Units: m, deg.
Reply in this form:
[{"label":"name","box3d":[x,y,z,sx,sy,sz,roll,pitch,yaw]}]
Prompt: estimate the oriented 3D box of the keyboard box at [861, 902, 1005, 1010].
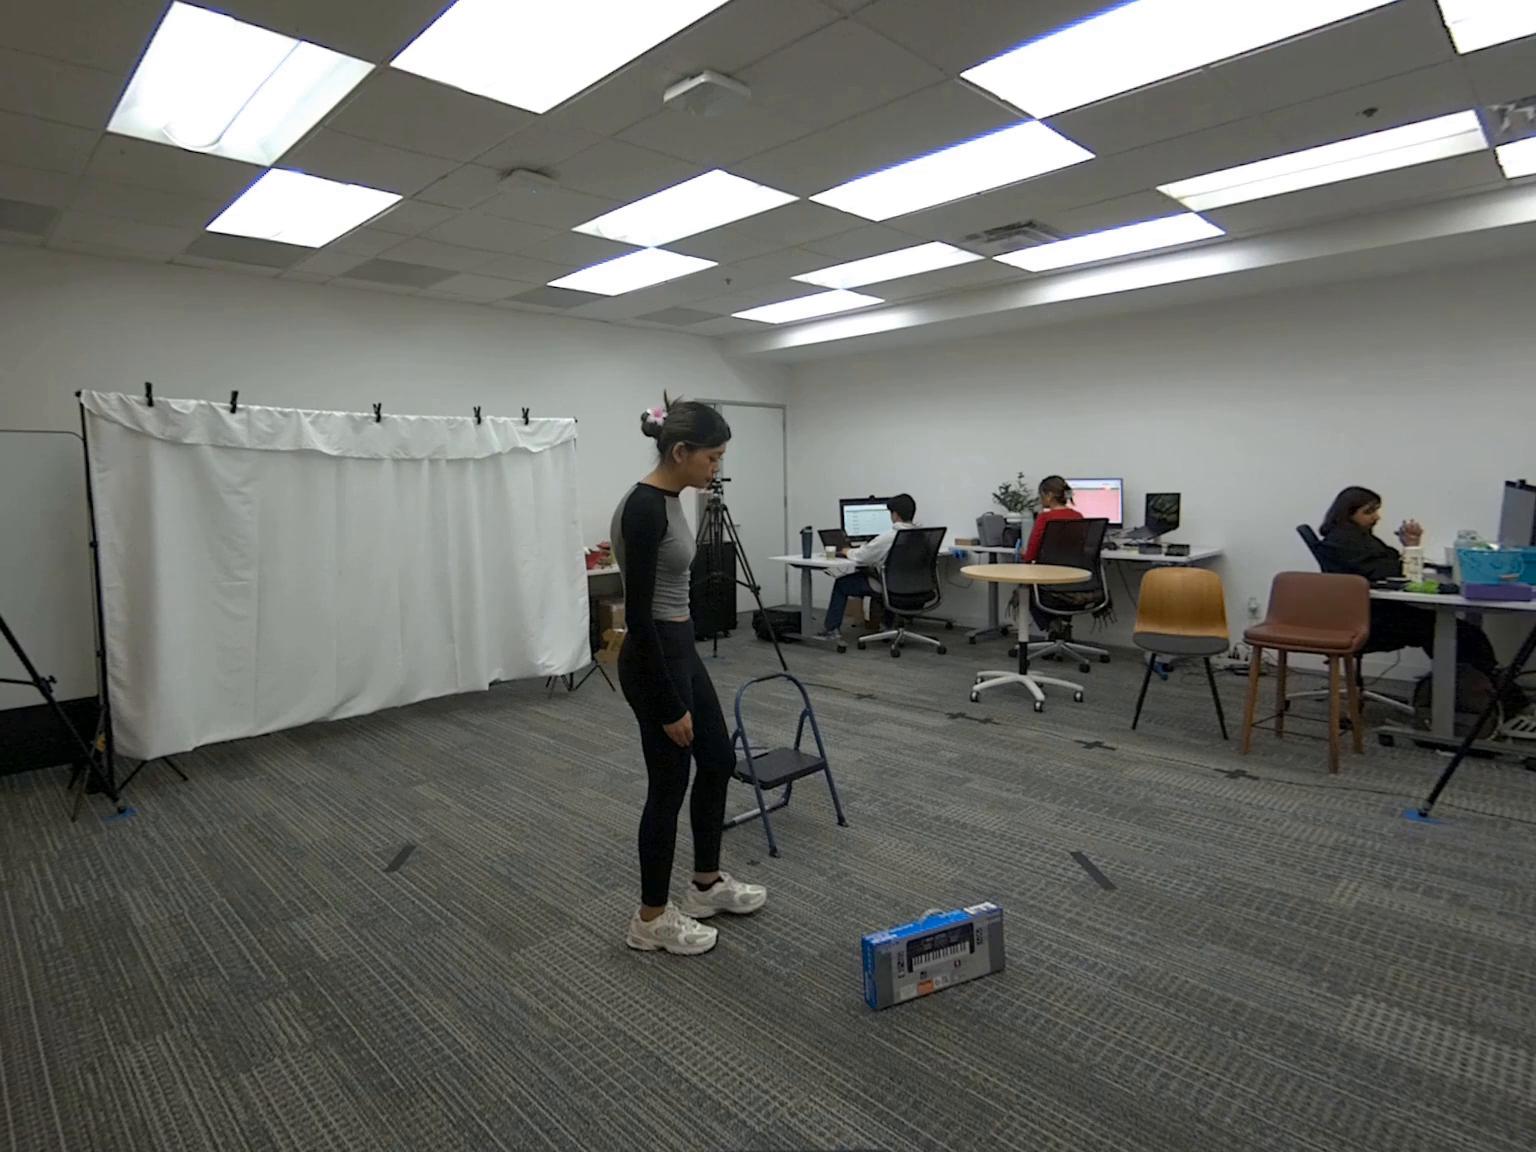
[{"label":"keyboard box","box3d":[0.469,1.039,2.338,0.428,0.176,0.060,-4,0,-24]}]
